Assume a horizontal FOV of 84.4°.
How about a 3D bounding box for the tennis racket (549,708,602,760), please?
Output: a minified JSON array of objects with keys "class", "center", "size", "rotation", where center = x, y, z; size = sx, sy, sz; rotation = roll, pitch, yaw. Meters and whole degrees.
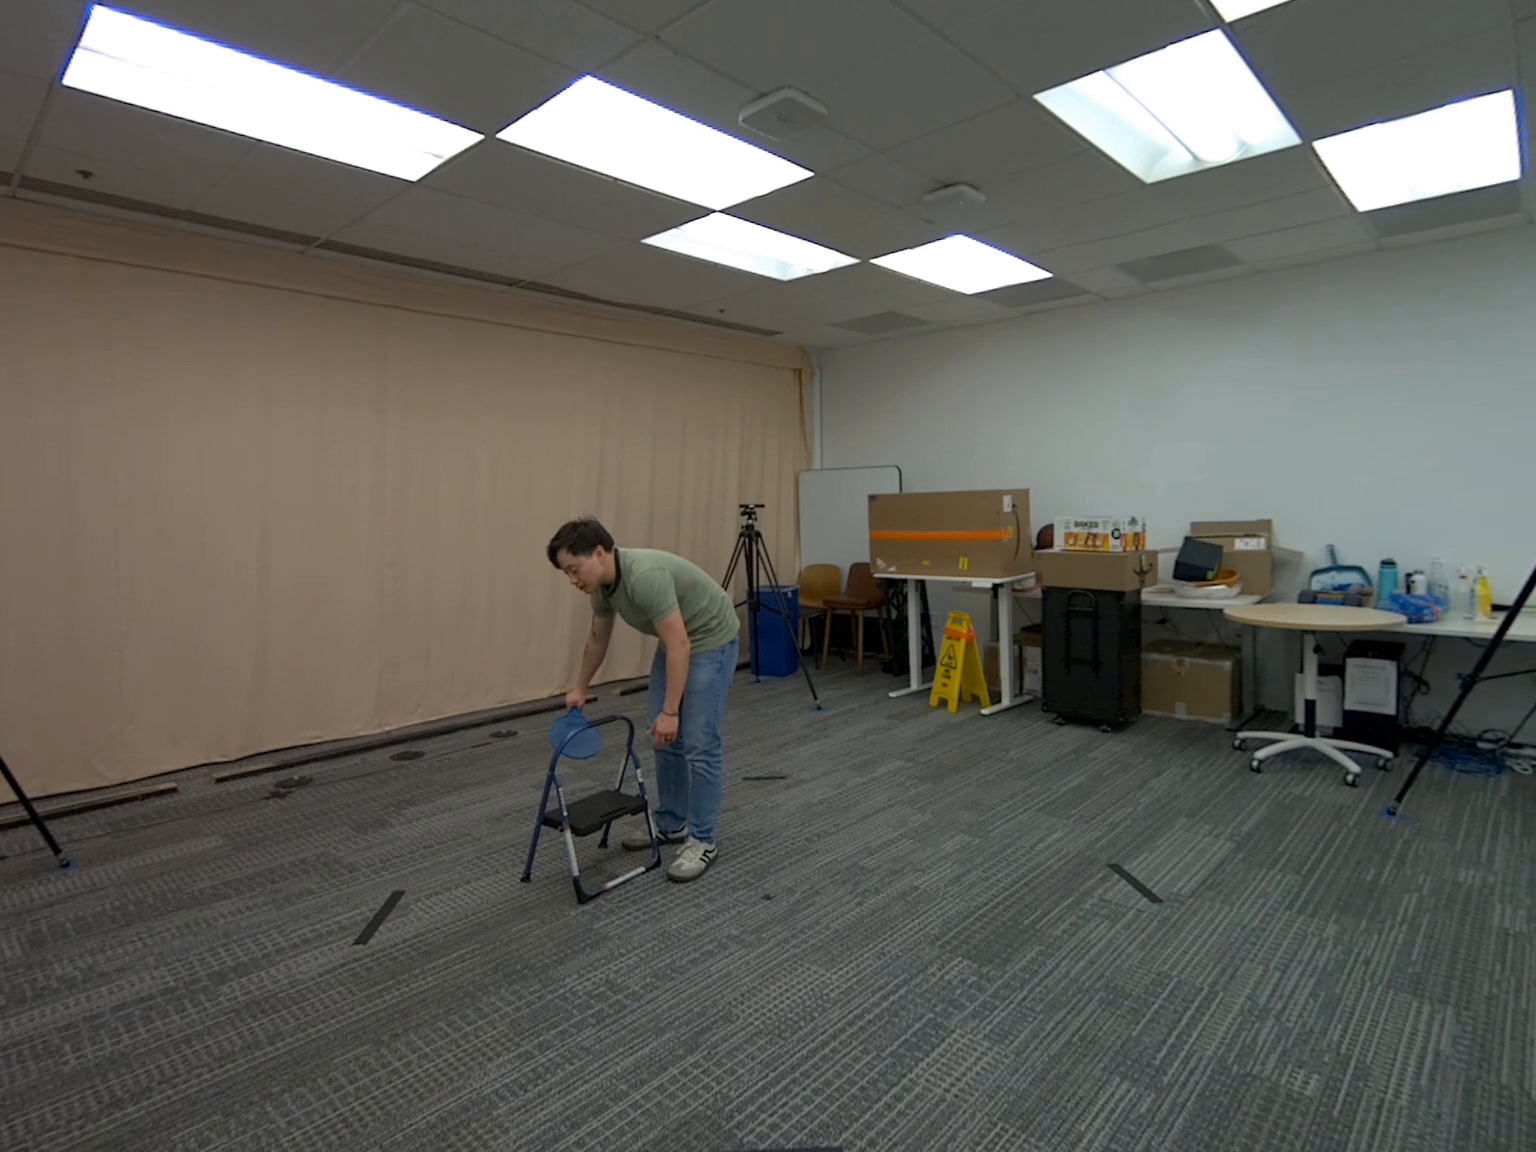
[{"class":"tennis racket","center":[-0.790,0.624,3.487],"size":[0.210,0.031,0.443],"rotation":[7,26,-15]}]
